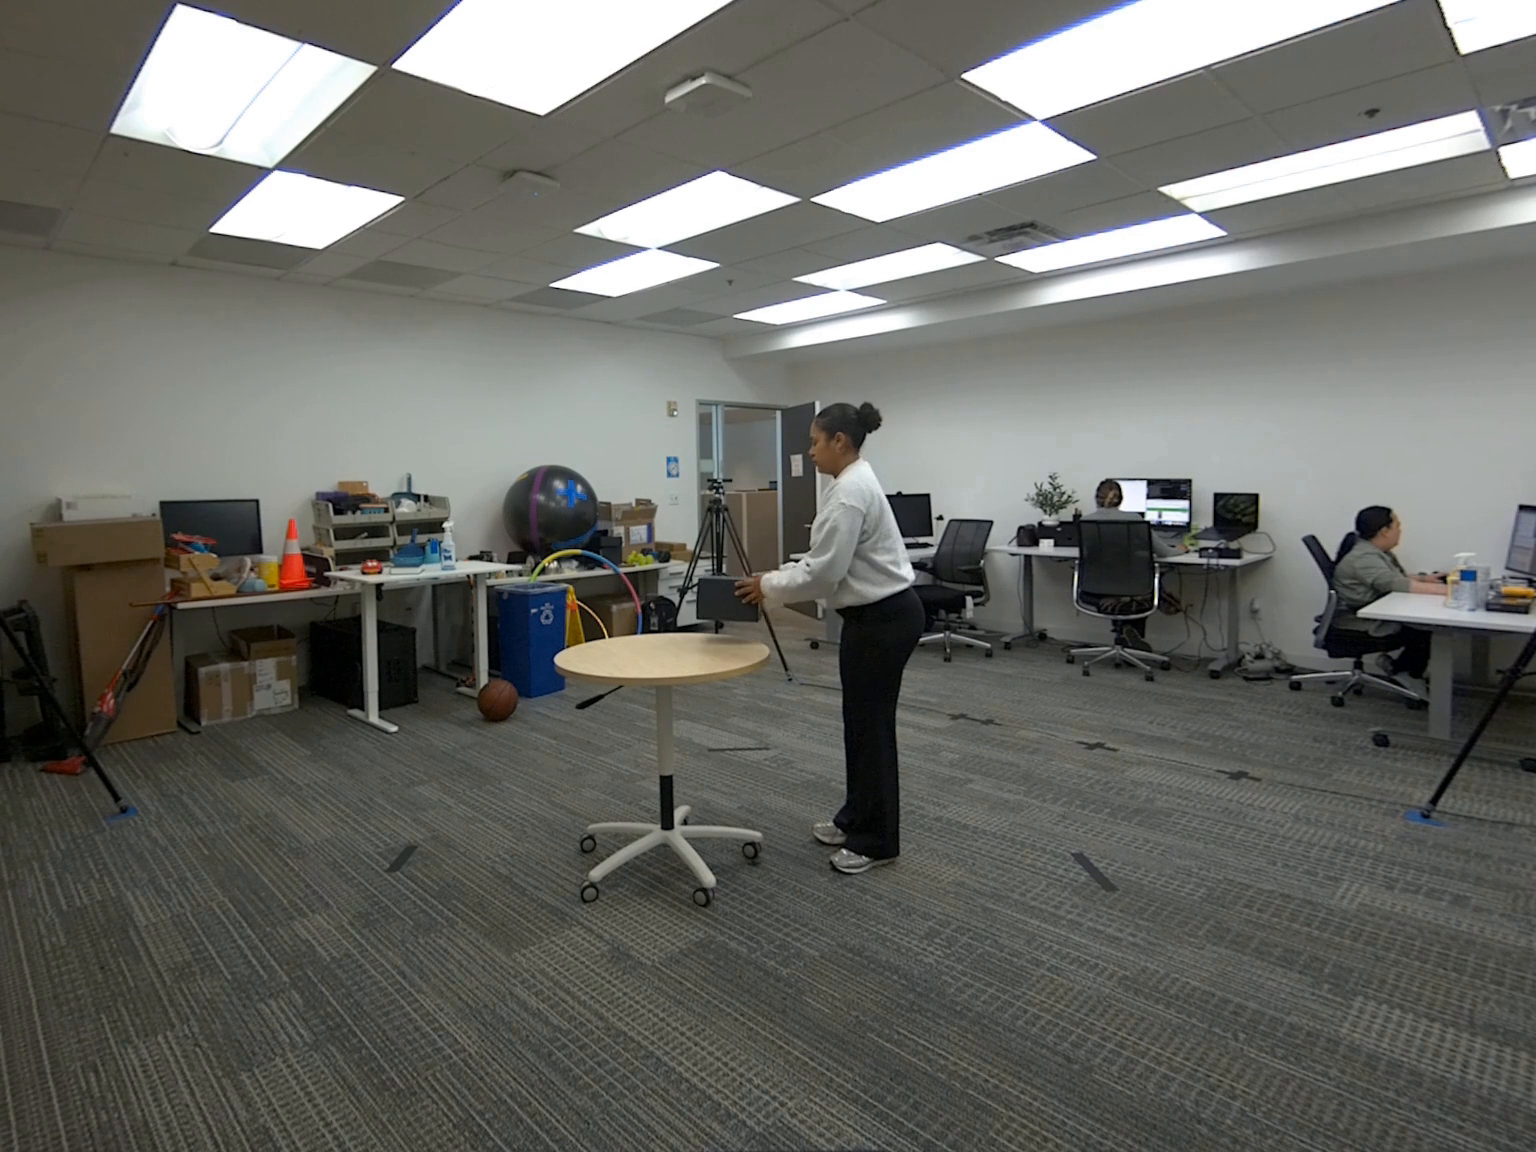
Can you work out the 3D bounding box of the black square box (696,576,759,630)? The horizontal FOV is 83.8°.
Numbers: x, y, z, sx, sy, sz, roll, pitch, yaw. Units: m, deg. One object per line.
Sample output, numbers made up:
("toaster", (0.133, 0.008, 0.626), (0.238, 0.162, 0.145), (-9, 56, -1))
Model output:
("black square box", (-0.134, 0.088, 3.254), (0.229, 0.156, 0.216), (1, 2, 3))
